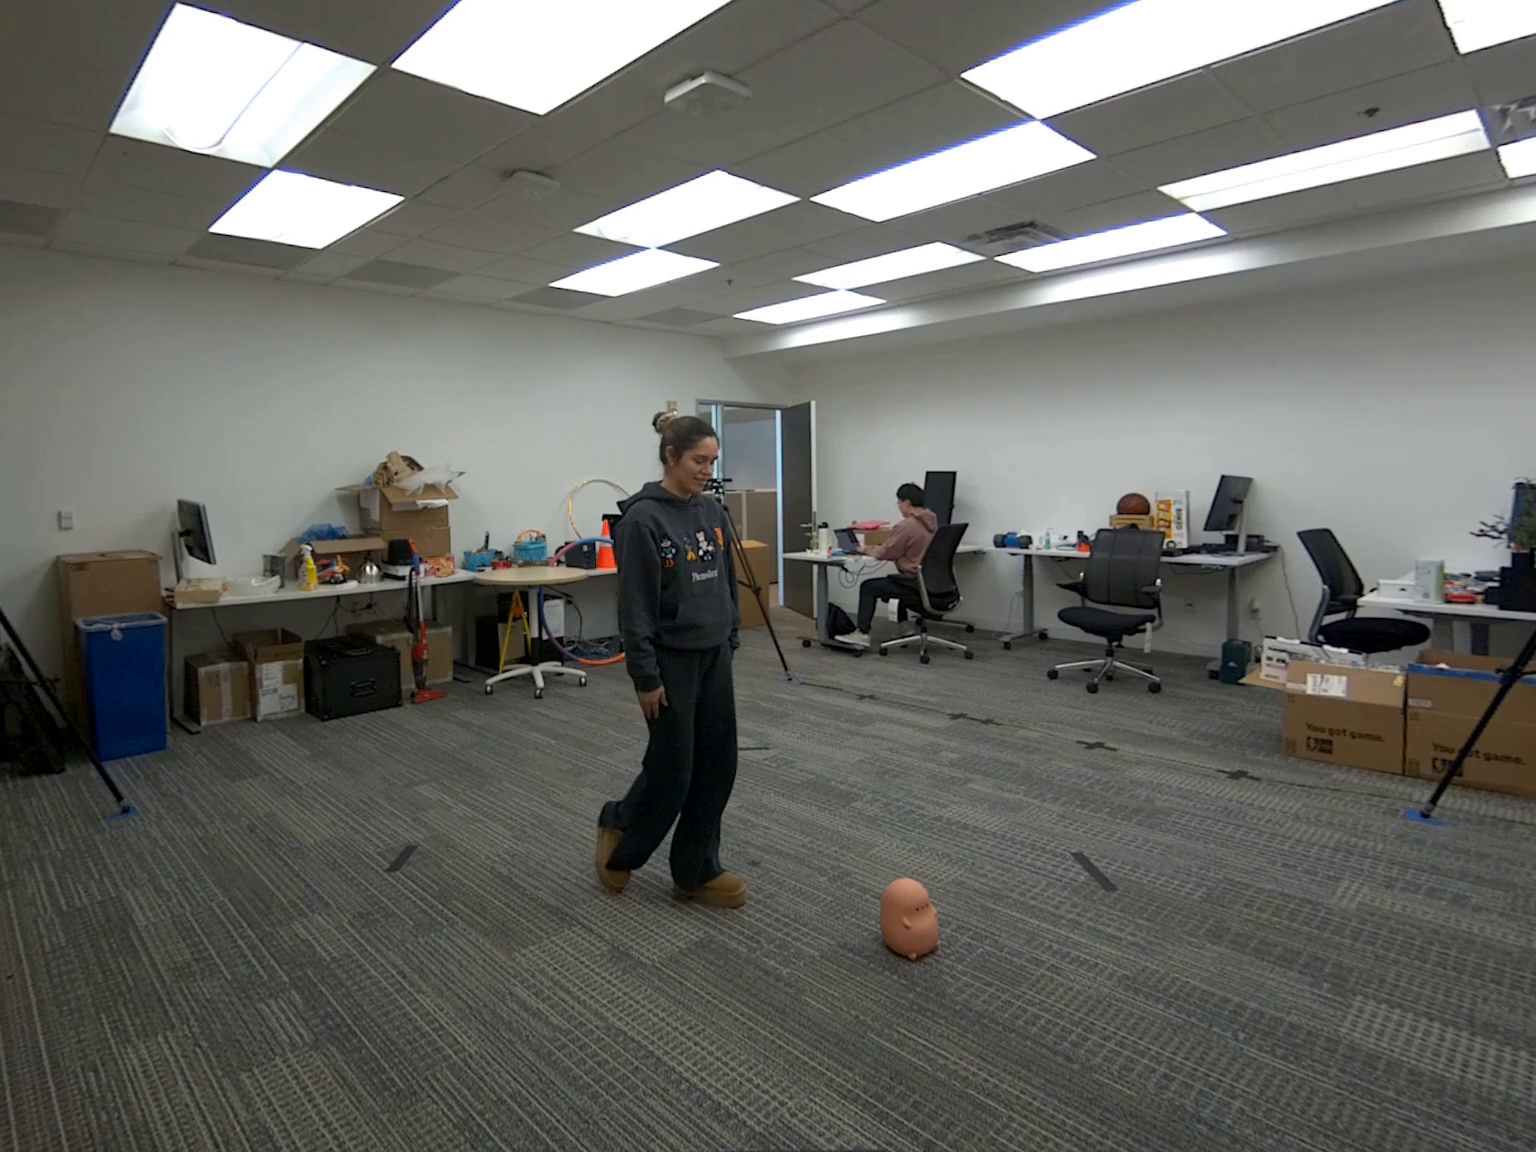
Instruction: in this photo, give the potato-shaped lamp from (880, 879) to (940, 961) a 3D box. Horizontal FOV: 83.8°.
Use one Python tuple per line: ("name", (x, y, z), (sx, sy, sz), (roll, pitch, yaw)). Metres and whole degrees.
("potato-shaped lamp", (0.420, 1.005, 2.521), (0.161, 0.197, 0.176), (-5, 8, -29))
